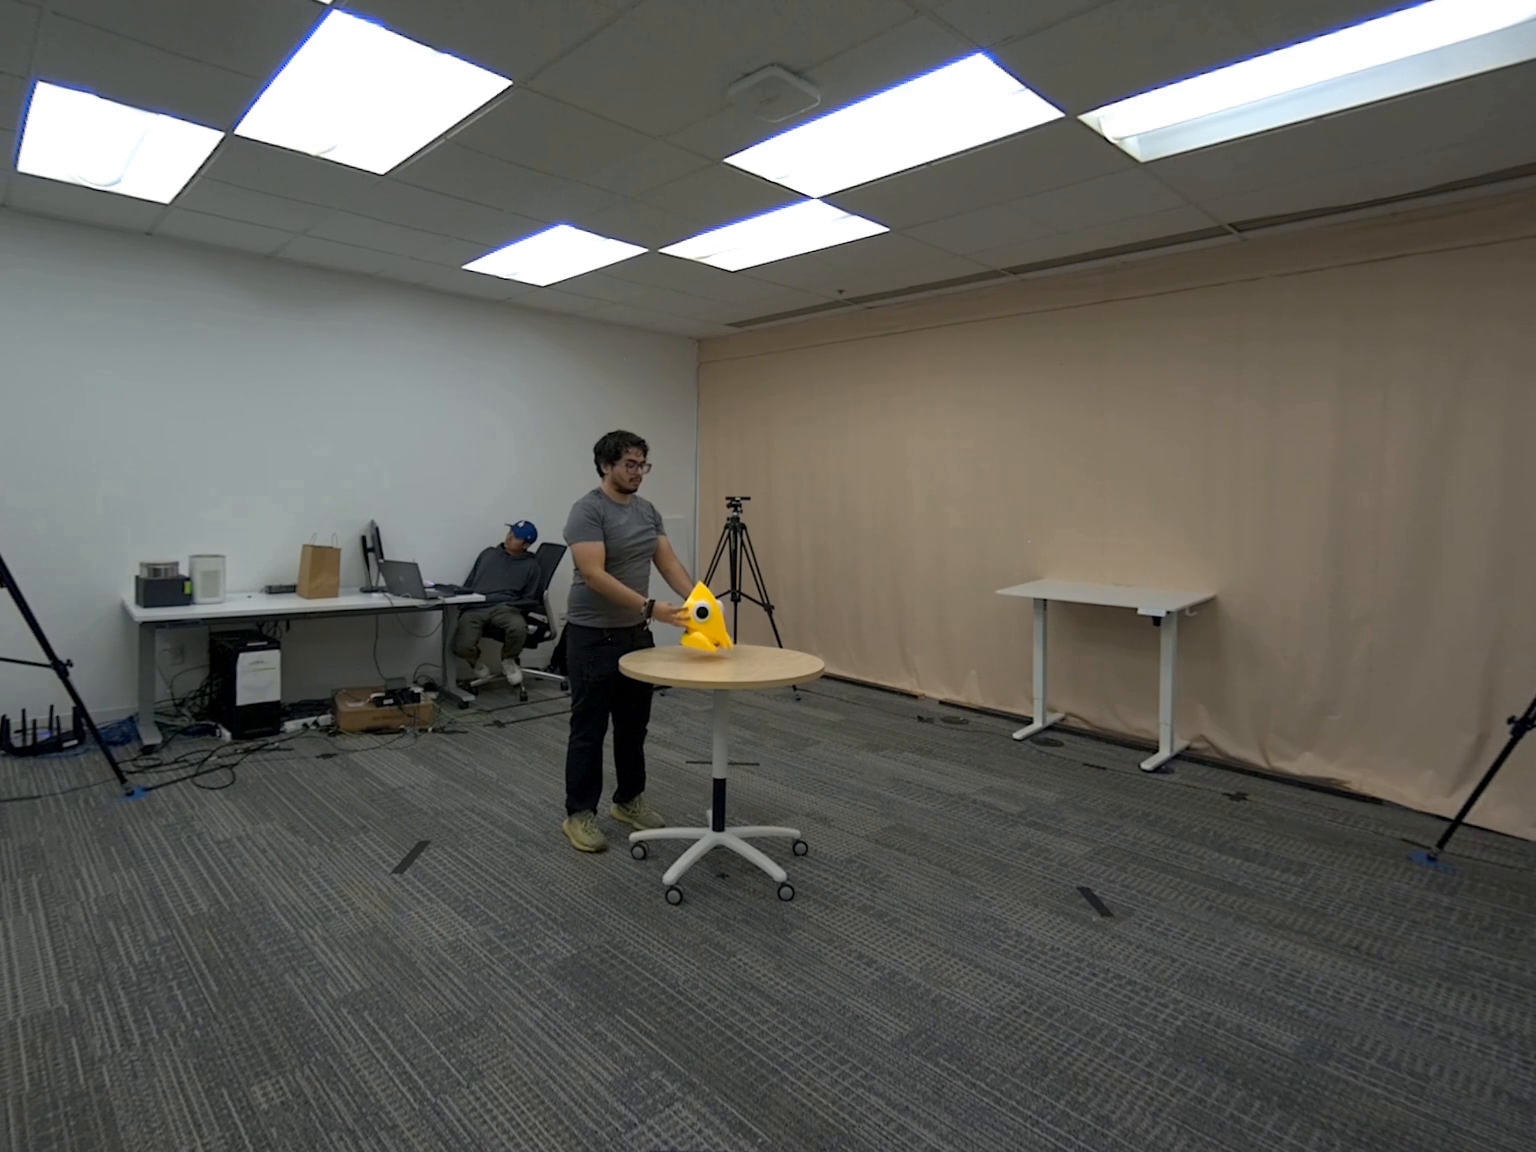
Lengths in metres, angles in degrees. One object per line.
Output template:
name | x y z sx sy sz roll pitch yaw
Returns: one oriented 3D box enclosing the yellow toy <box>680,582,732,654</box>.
yellow toy | -0.234 0.145 3.165 0.198 0.230 0.200 13 8 29
